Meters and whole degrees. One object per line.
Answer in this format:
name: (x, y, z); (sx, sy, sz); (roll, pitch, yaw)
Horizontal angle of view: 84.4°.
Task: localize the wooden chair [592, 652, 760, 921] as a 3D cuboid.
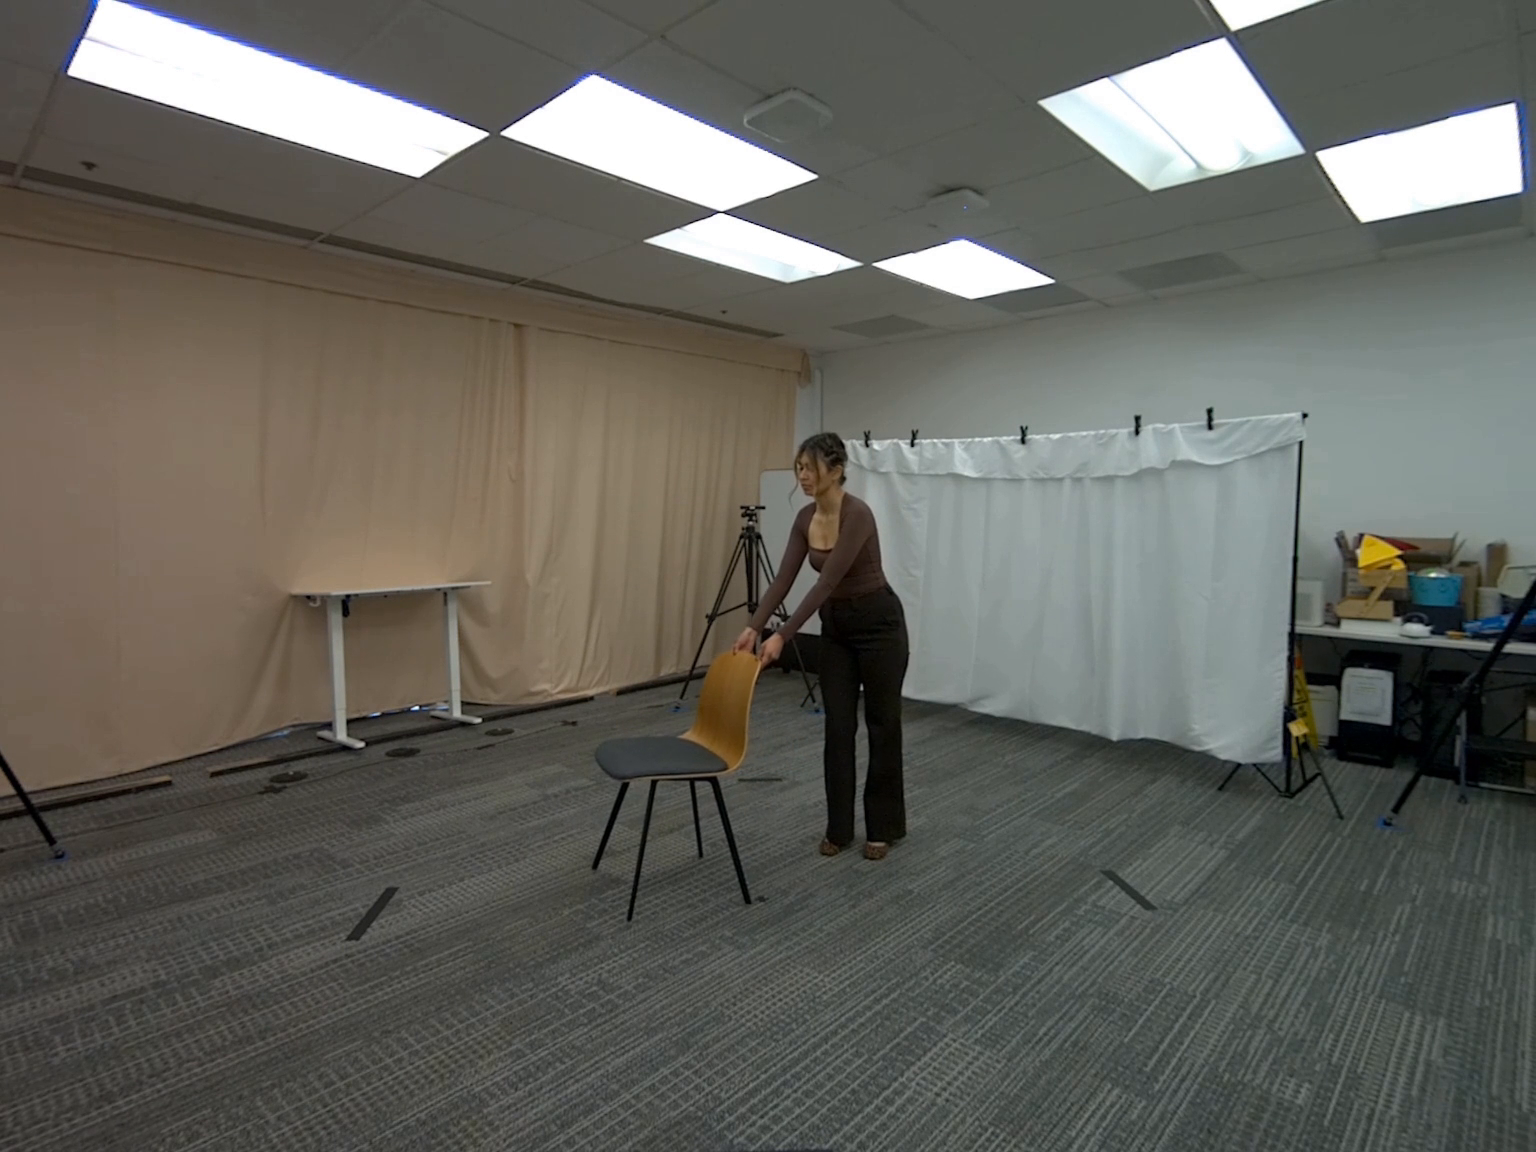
wooden chair: (-0.340, 0.703, 3.038); (0.510, 0.877, 0.491); (7, 0, -26)
